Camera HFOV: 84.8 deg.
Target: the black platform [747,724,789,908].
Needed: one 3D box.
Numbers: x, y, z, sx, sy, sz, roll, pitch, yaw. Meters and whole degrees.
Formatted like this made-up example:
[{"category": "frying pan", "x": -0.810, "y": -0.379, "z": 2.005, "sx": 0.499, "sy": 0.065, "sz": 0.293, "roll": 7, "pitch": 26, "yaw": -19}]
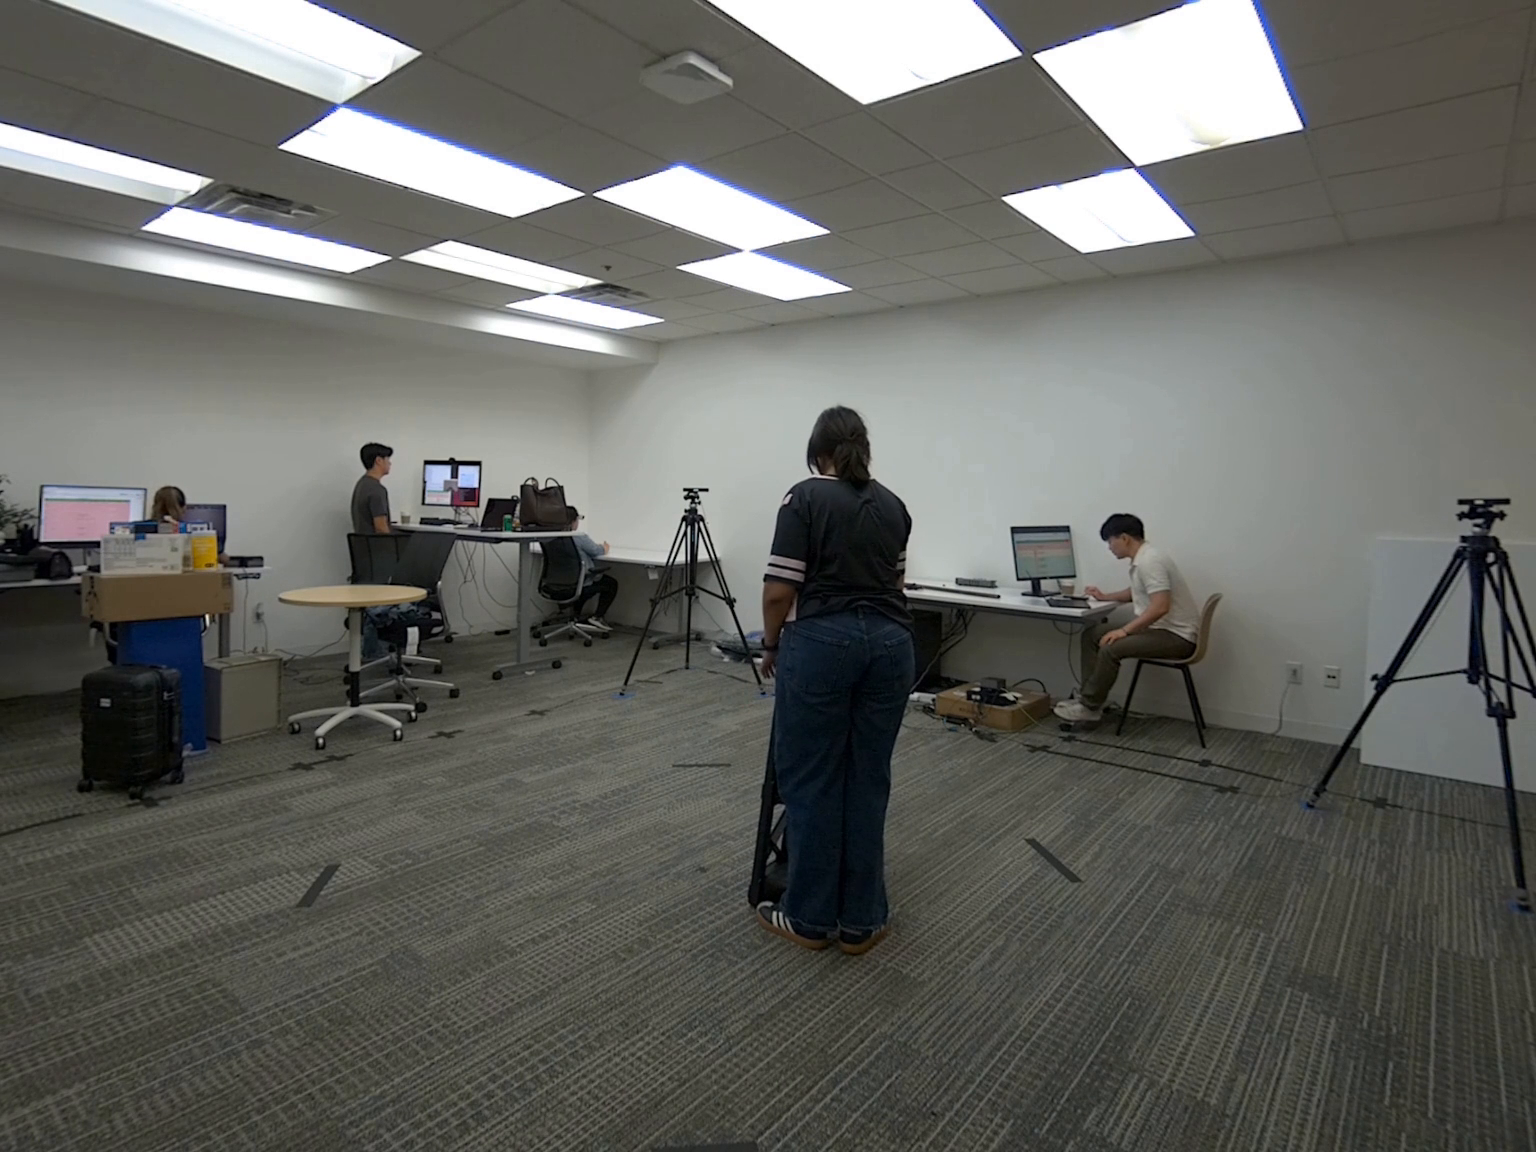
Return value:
[{"category": "black platform", "x": 0.184, "y": 0.697, "z": 3.001, "sx": 0.148, "sy": 0.801, "sz": 0.588, "roll": 11, "pitch": 9, "yaw": 32}]
